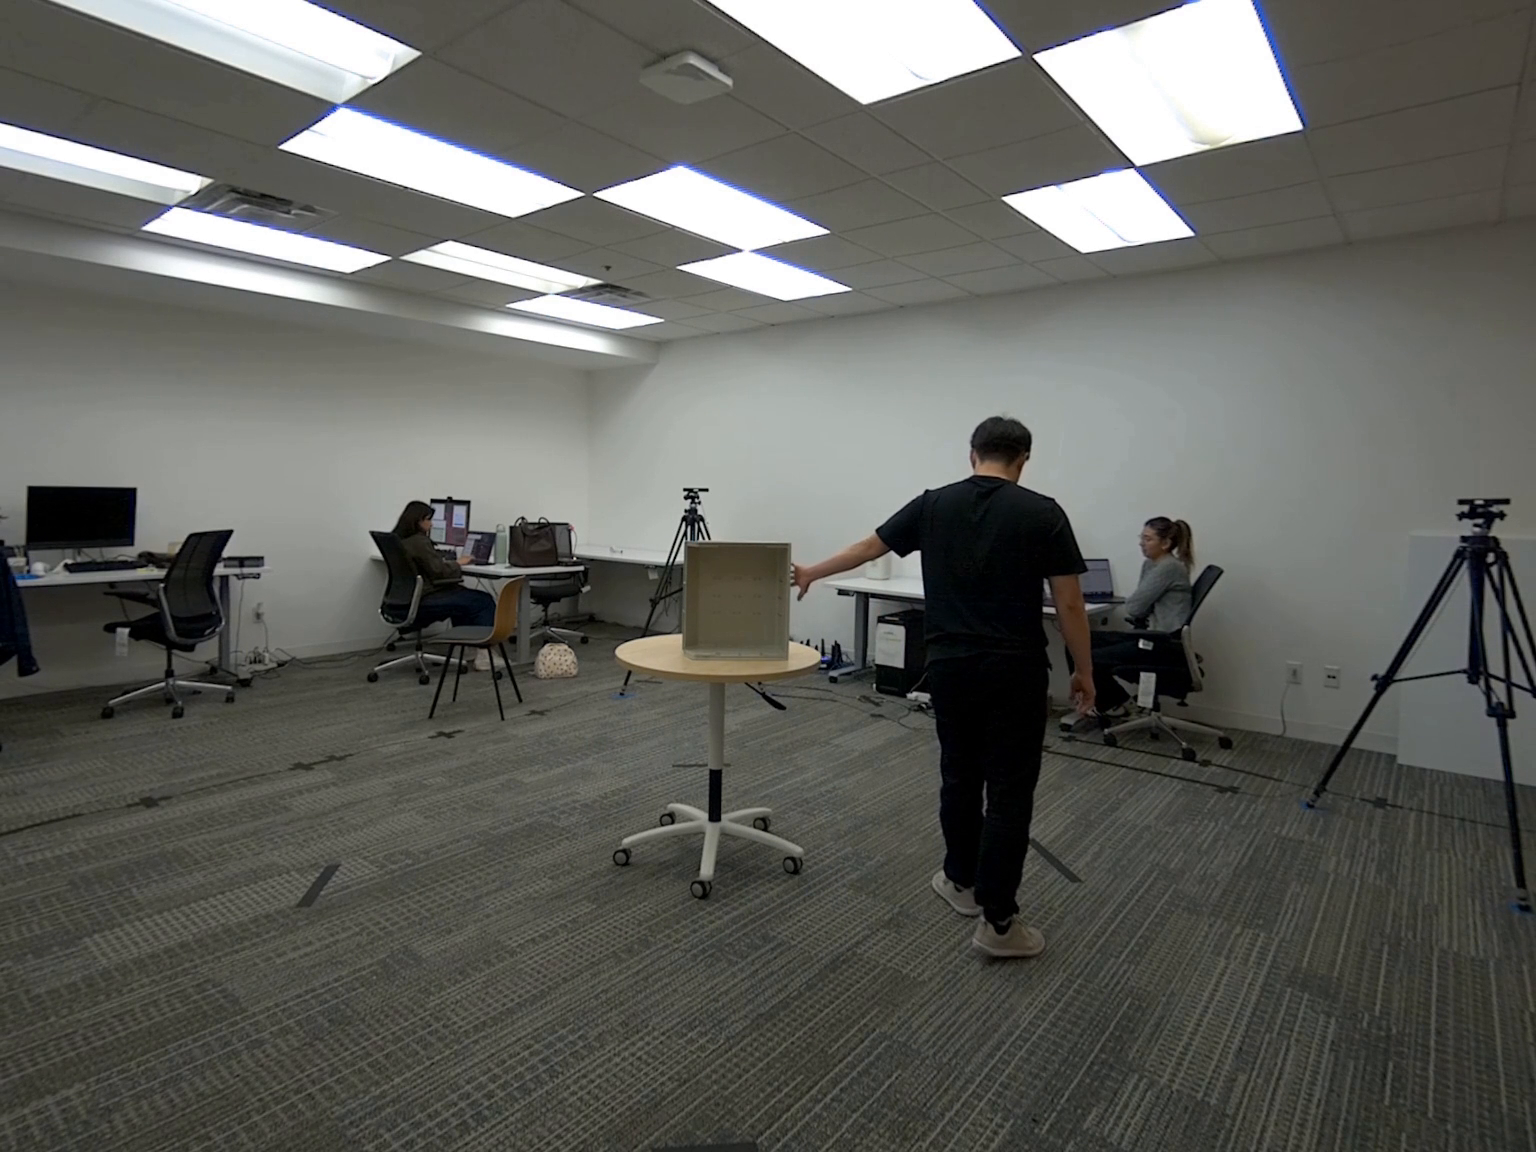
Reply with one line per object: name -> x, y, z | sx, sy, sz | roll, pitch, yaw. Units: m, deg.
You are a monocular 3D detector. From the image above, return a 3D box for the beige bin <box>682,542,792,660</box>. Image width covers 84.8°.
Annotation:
beige bin -> -0.132, 0.078, 3.105 | 0.376, 0.421, 0.190 | 1, 2, -3
